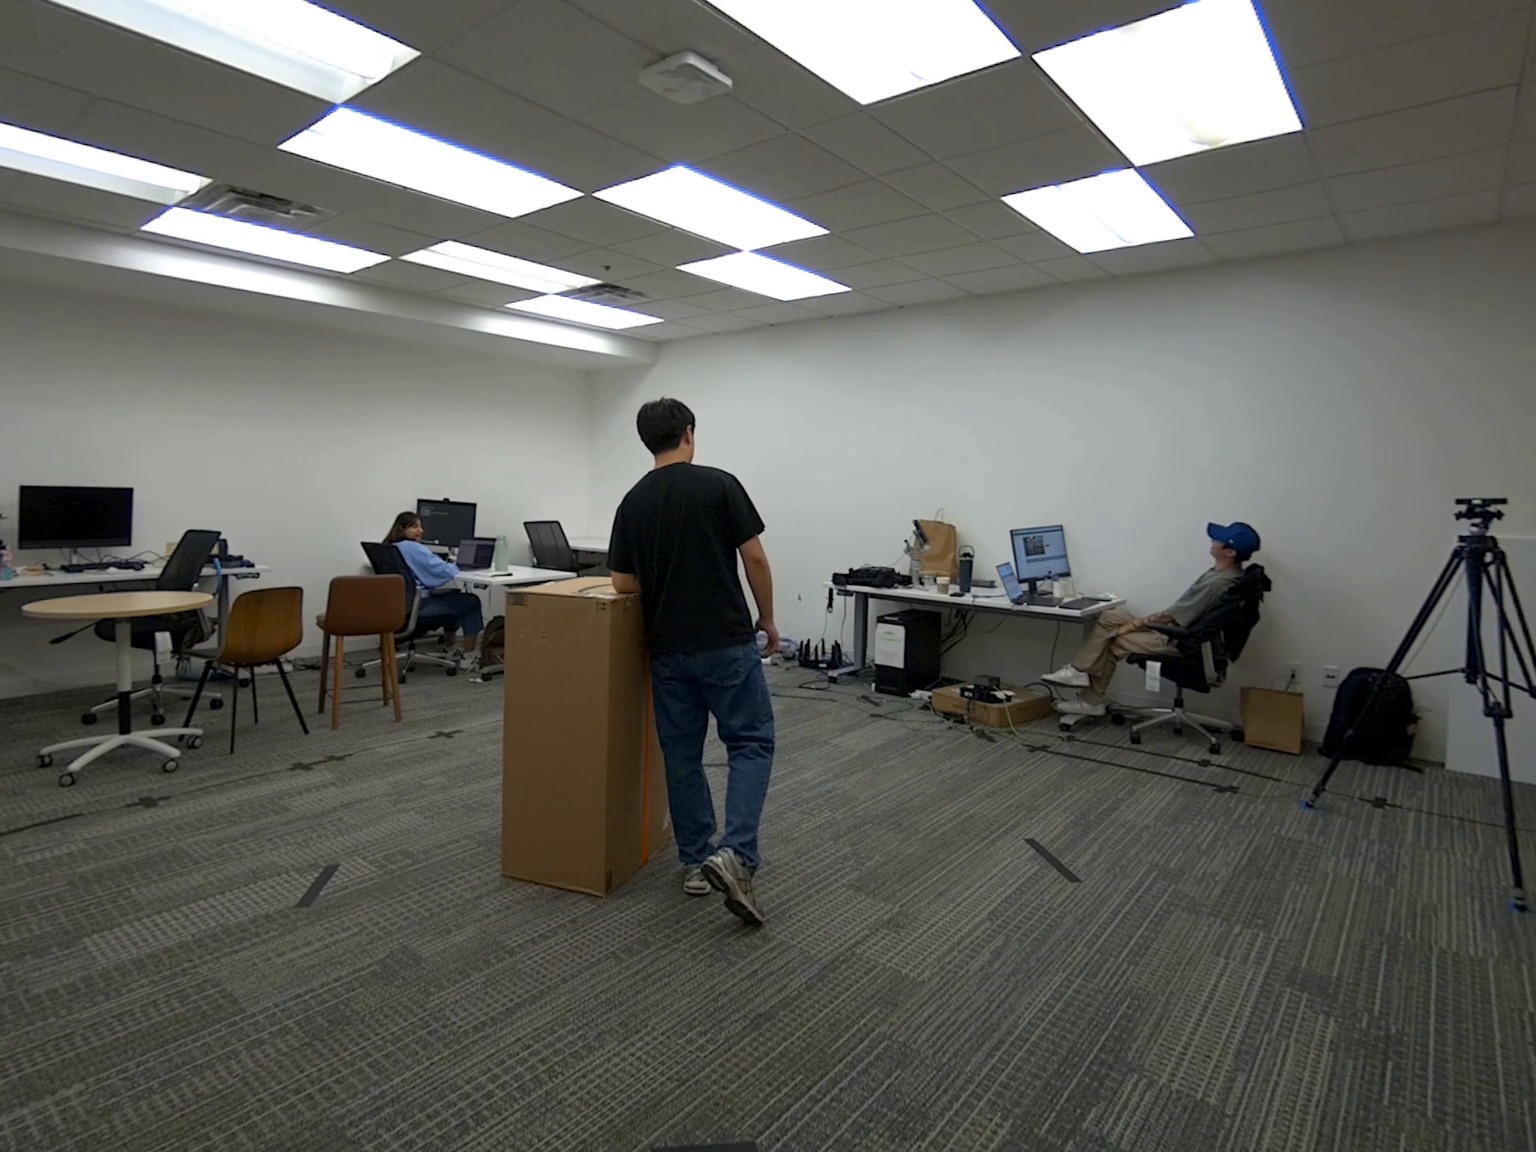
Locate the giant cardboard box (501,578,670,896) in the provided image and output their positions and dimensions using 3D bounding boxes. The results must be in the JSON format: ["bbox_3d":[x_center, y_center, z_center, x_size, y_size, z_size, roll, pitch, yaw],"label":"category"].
[{"bbox_3d":[-0.664,0.541,3.195,0.457,1.024,0.573,3,3,20],"label":"giant cardboard box"}]
